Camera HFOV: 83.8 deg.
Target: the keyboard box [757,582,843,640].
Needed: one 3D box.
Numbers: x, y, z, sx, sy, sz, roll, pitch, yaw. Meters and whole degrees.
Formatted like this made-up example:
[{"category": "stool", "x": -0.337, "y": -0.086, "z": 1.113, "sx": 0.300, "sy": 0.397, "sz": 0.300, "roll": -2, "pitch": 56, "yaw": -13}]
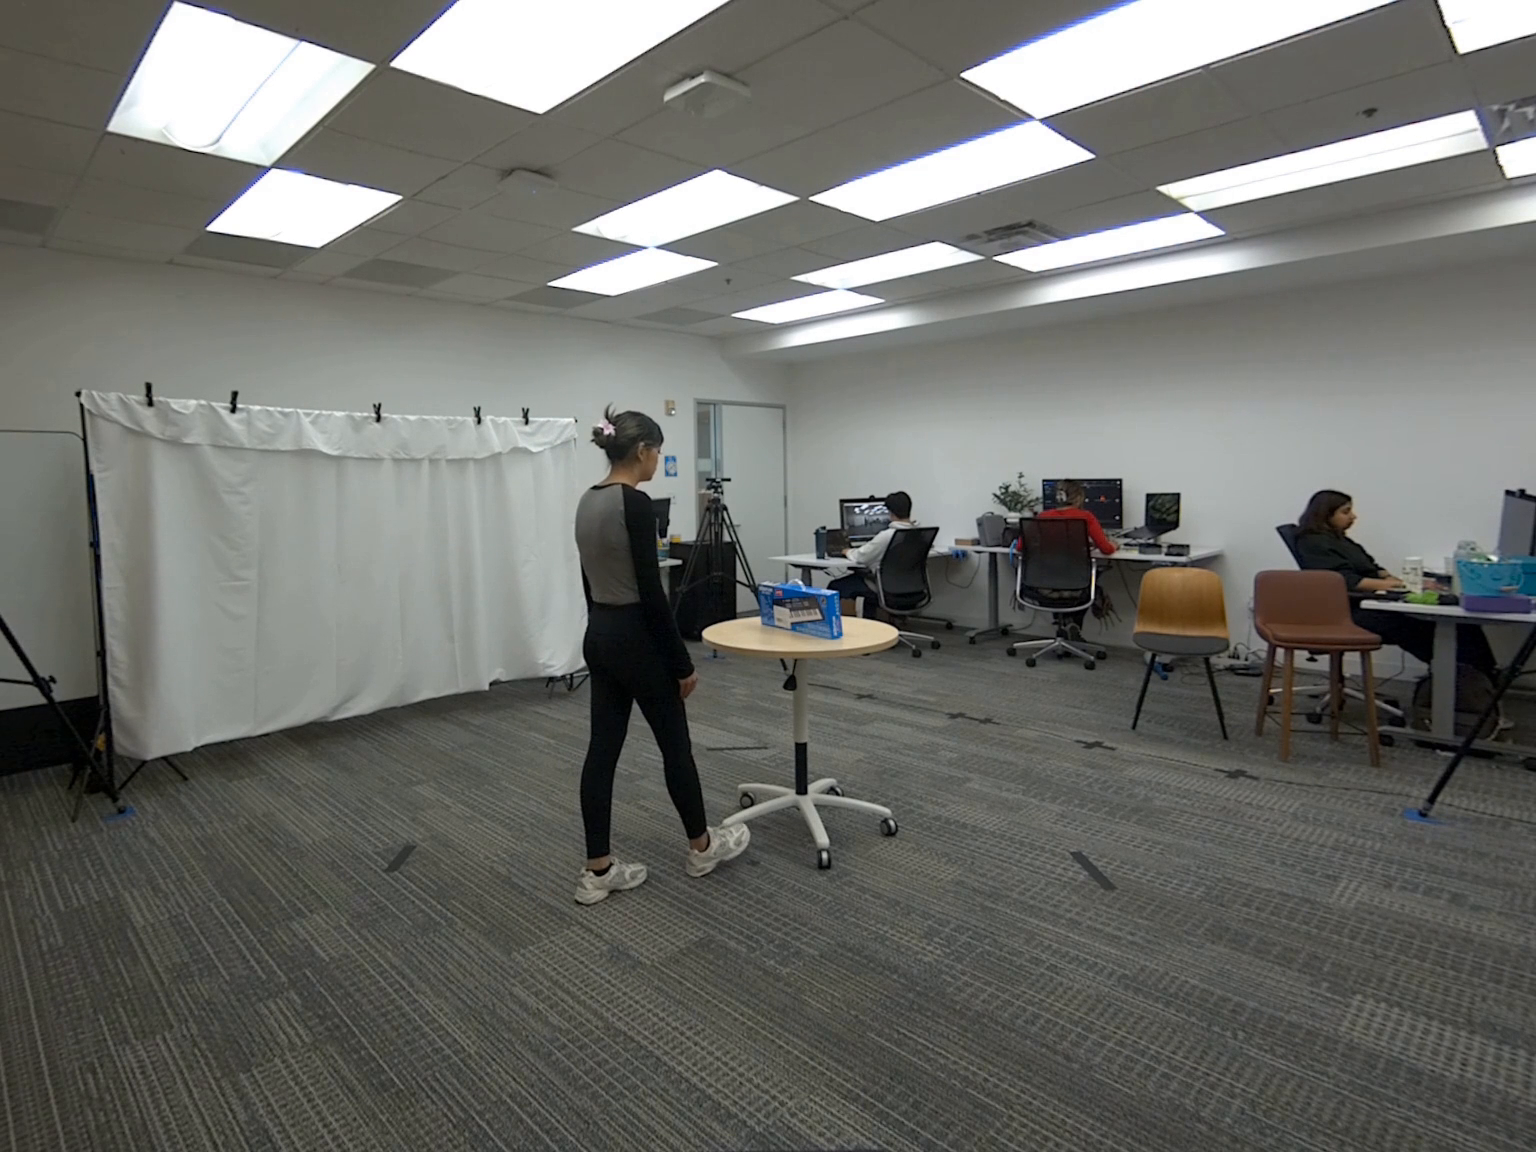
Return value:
[{"category": "keyboard box", "x": 0.122, "y": 0.132, "z": 3.354, "sx": 0.058, "sy": 0.174, "sz": 0.450, "roll": -11, "pitch": 10, "yaw": -35}]
